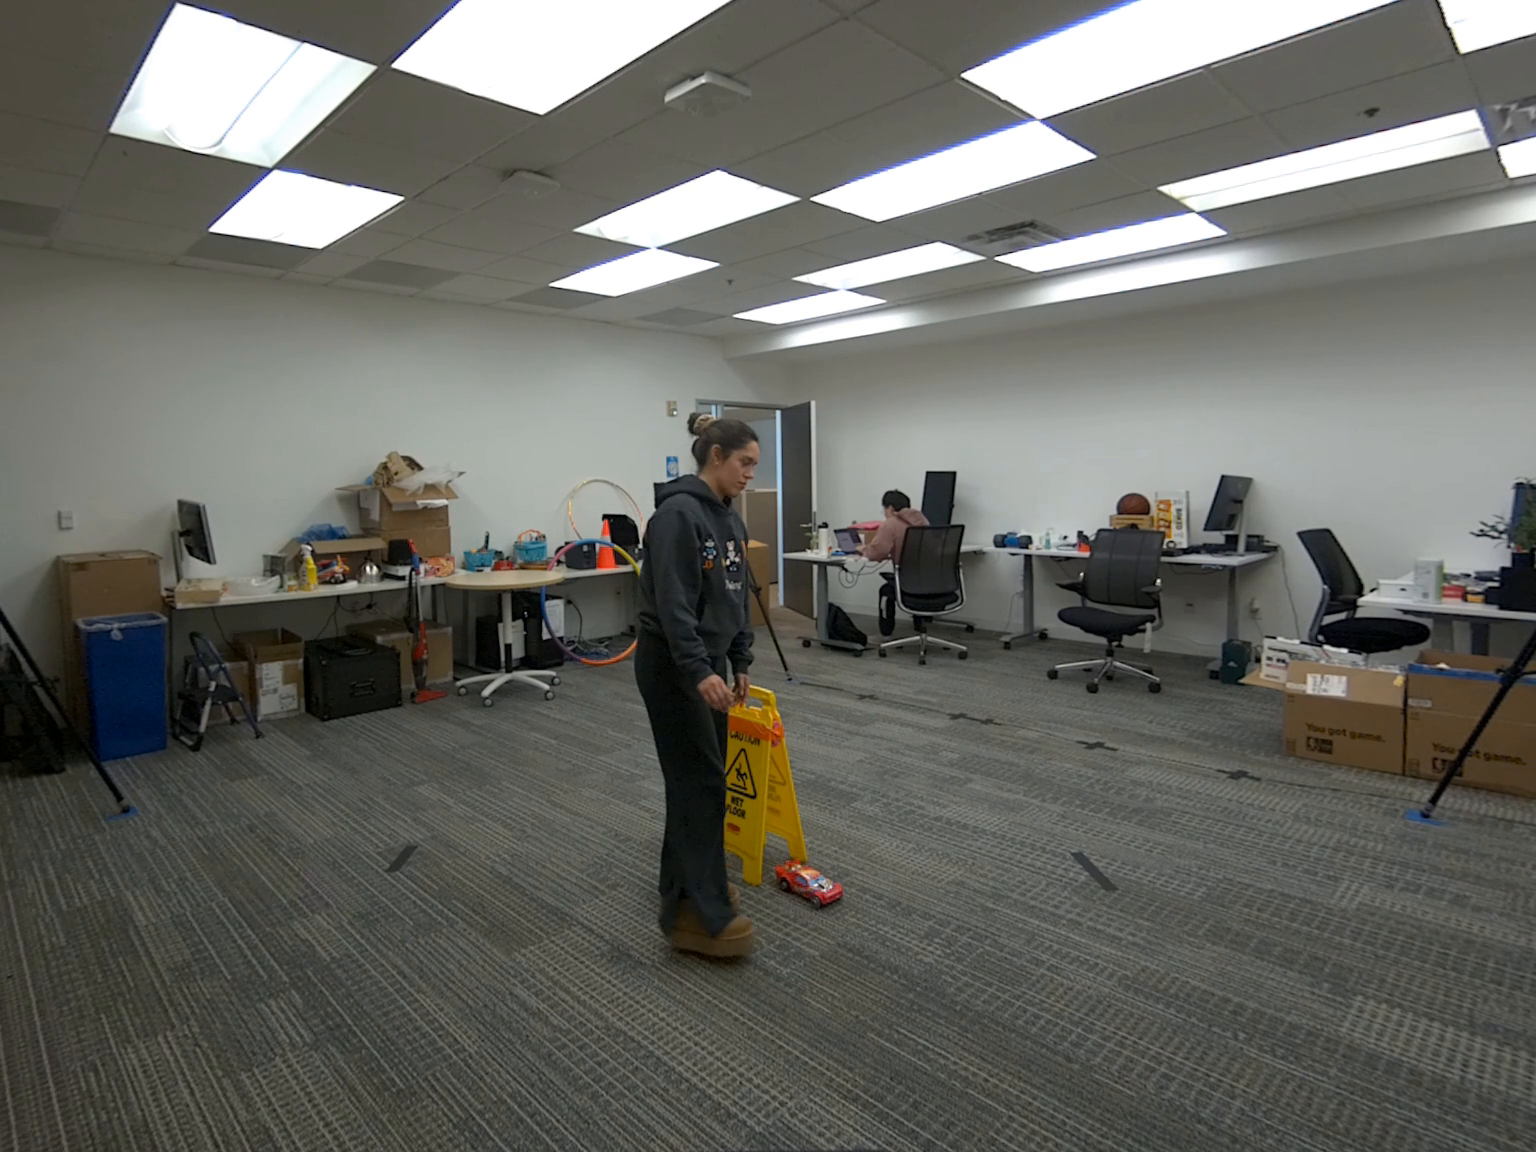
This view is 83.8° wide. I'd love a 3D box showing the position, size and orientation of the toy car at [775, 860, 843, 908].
[{"bbox_3d":[0.133,1.039,2.857,0.127,0.082,0.264,-6,18,-39],"label":"toy car"}]
